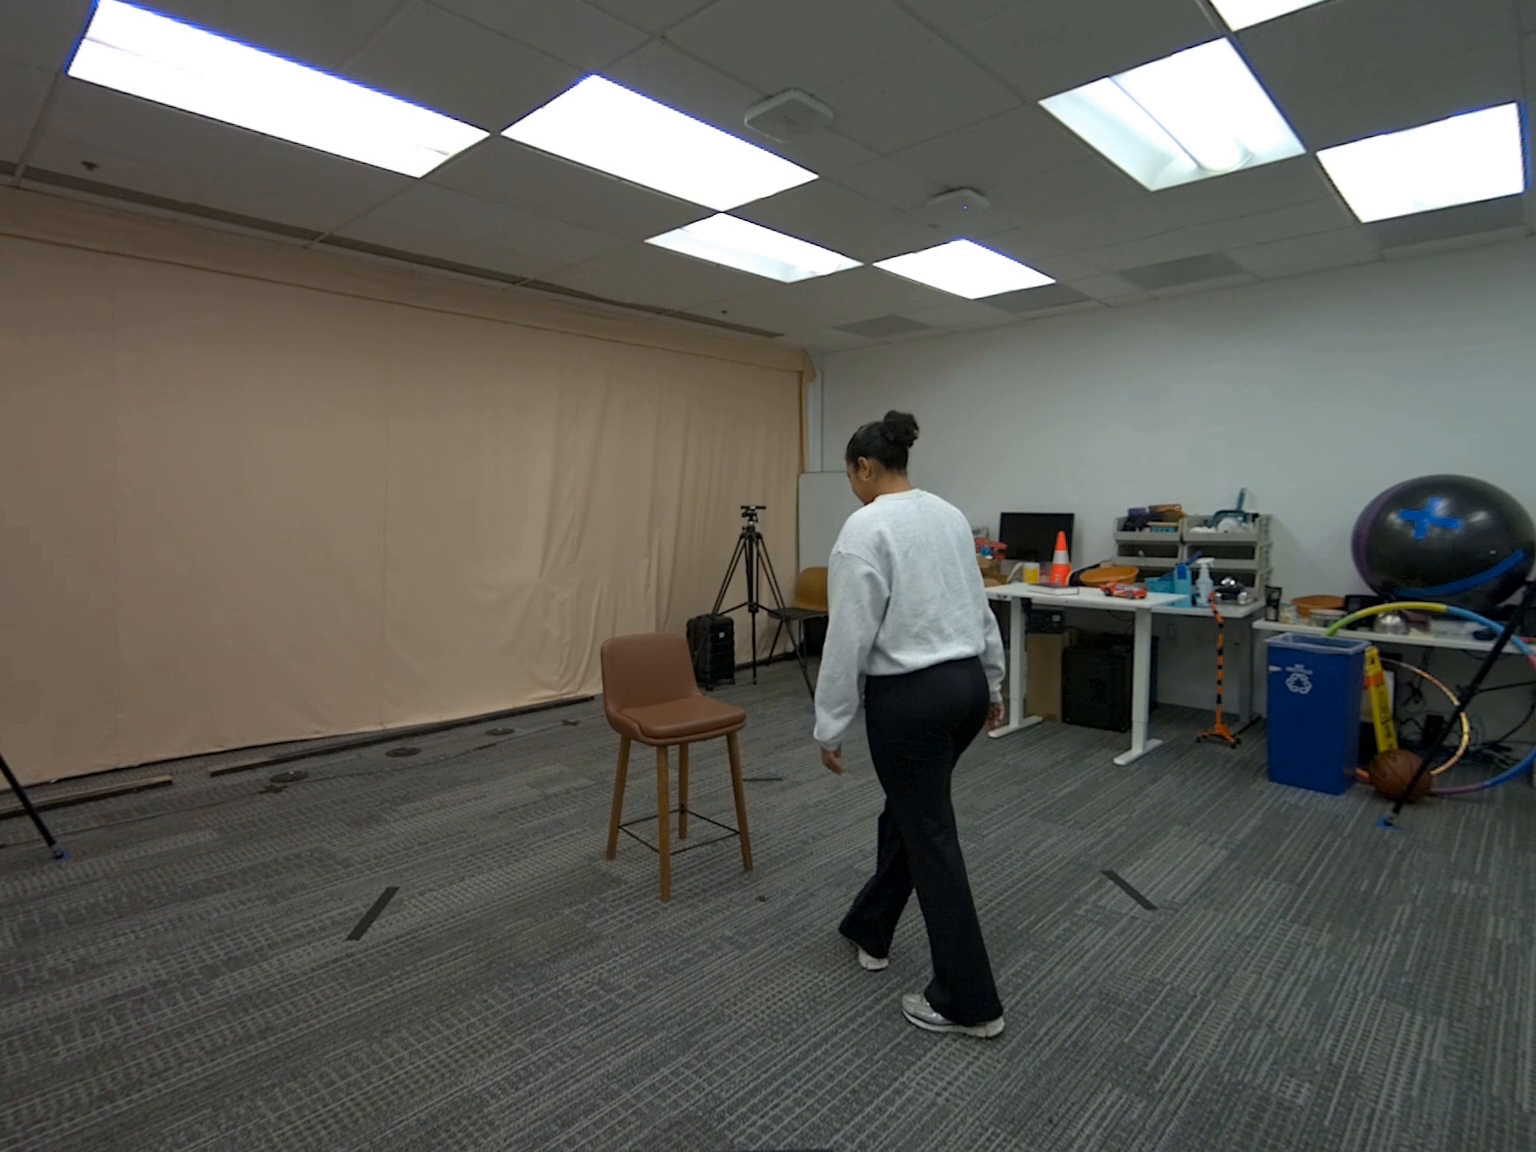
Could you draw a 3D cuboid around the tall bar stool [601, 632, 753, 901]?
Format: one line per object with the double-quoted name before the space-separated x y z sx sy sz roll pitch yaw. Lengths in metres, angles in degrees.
"tall bar stool" -0.364 0.689 3.252 0.443 0.889 0.482 -3 2 -38
